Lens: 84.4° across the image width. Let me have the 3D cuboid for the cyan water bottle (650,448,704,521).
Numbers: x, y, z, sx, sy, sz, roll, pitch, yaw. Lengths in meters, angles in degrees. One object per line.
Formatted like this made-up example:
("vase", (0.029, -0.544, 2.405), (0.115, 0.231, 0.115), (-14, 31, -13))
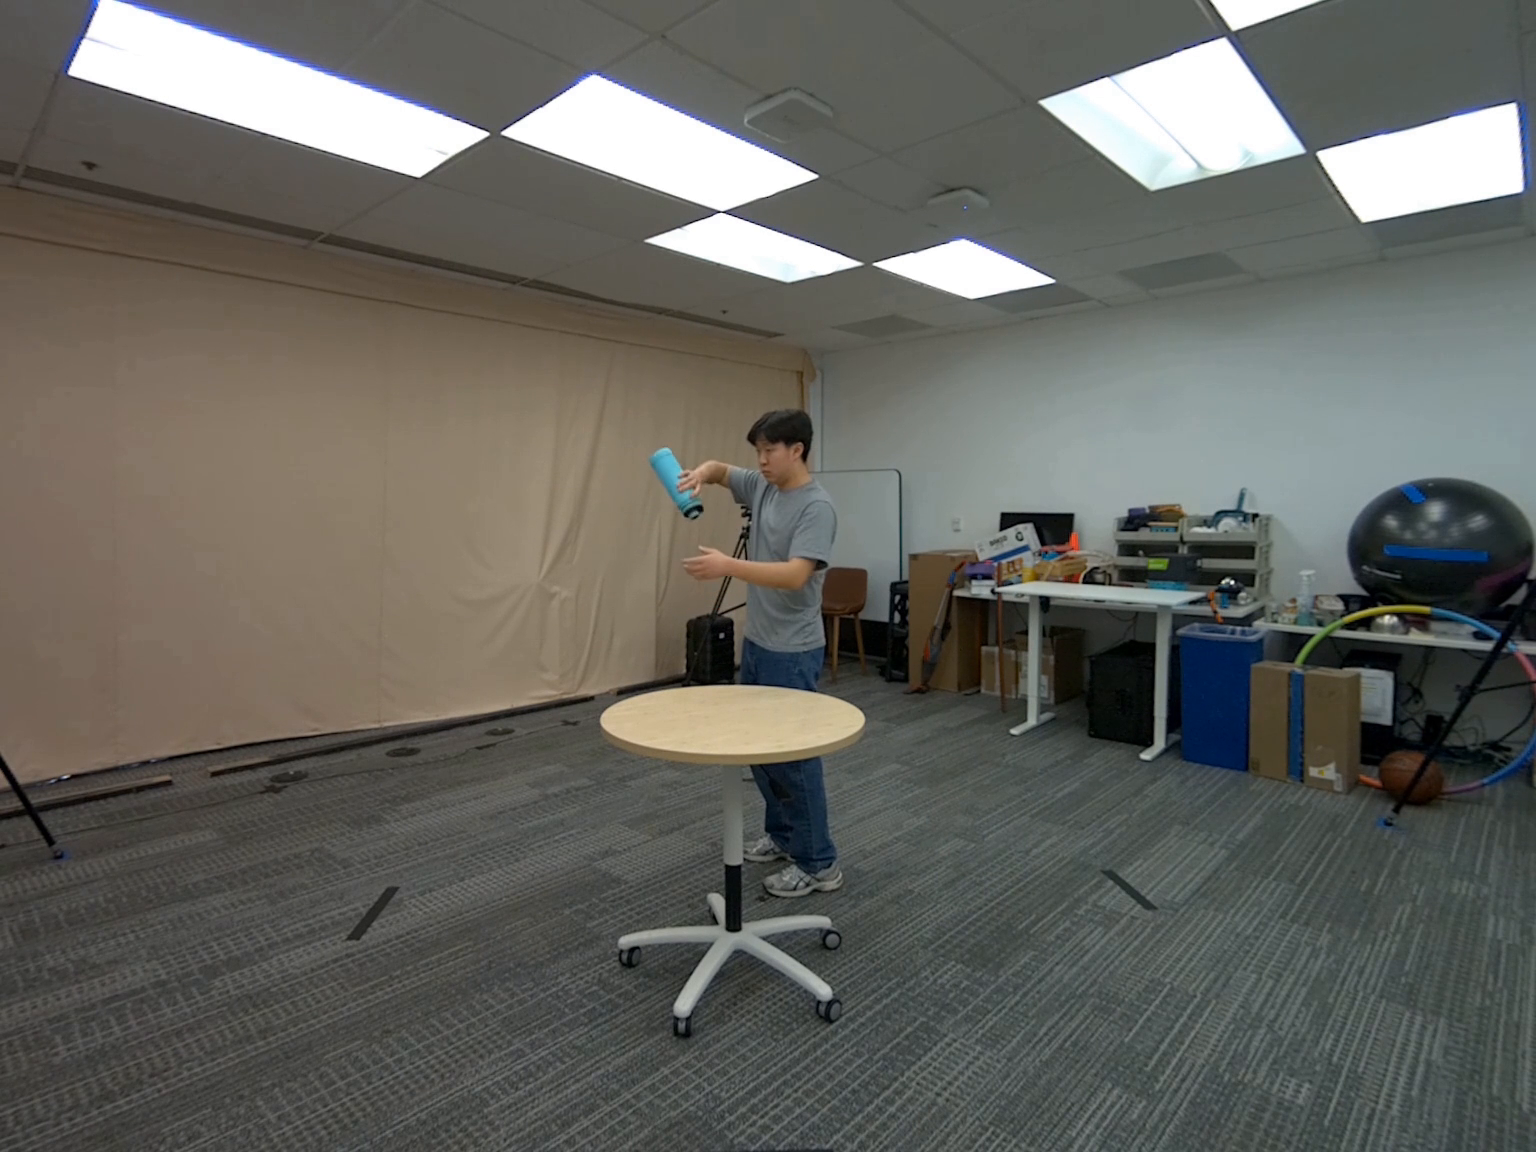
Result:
("cyan water bottle", (-0.323, -0.314, 3.093), (0.092, 0.287, 0.091), (-29, -12, -8))
